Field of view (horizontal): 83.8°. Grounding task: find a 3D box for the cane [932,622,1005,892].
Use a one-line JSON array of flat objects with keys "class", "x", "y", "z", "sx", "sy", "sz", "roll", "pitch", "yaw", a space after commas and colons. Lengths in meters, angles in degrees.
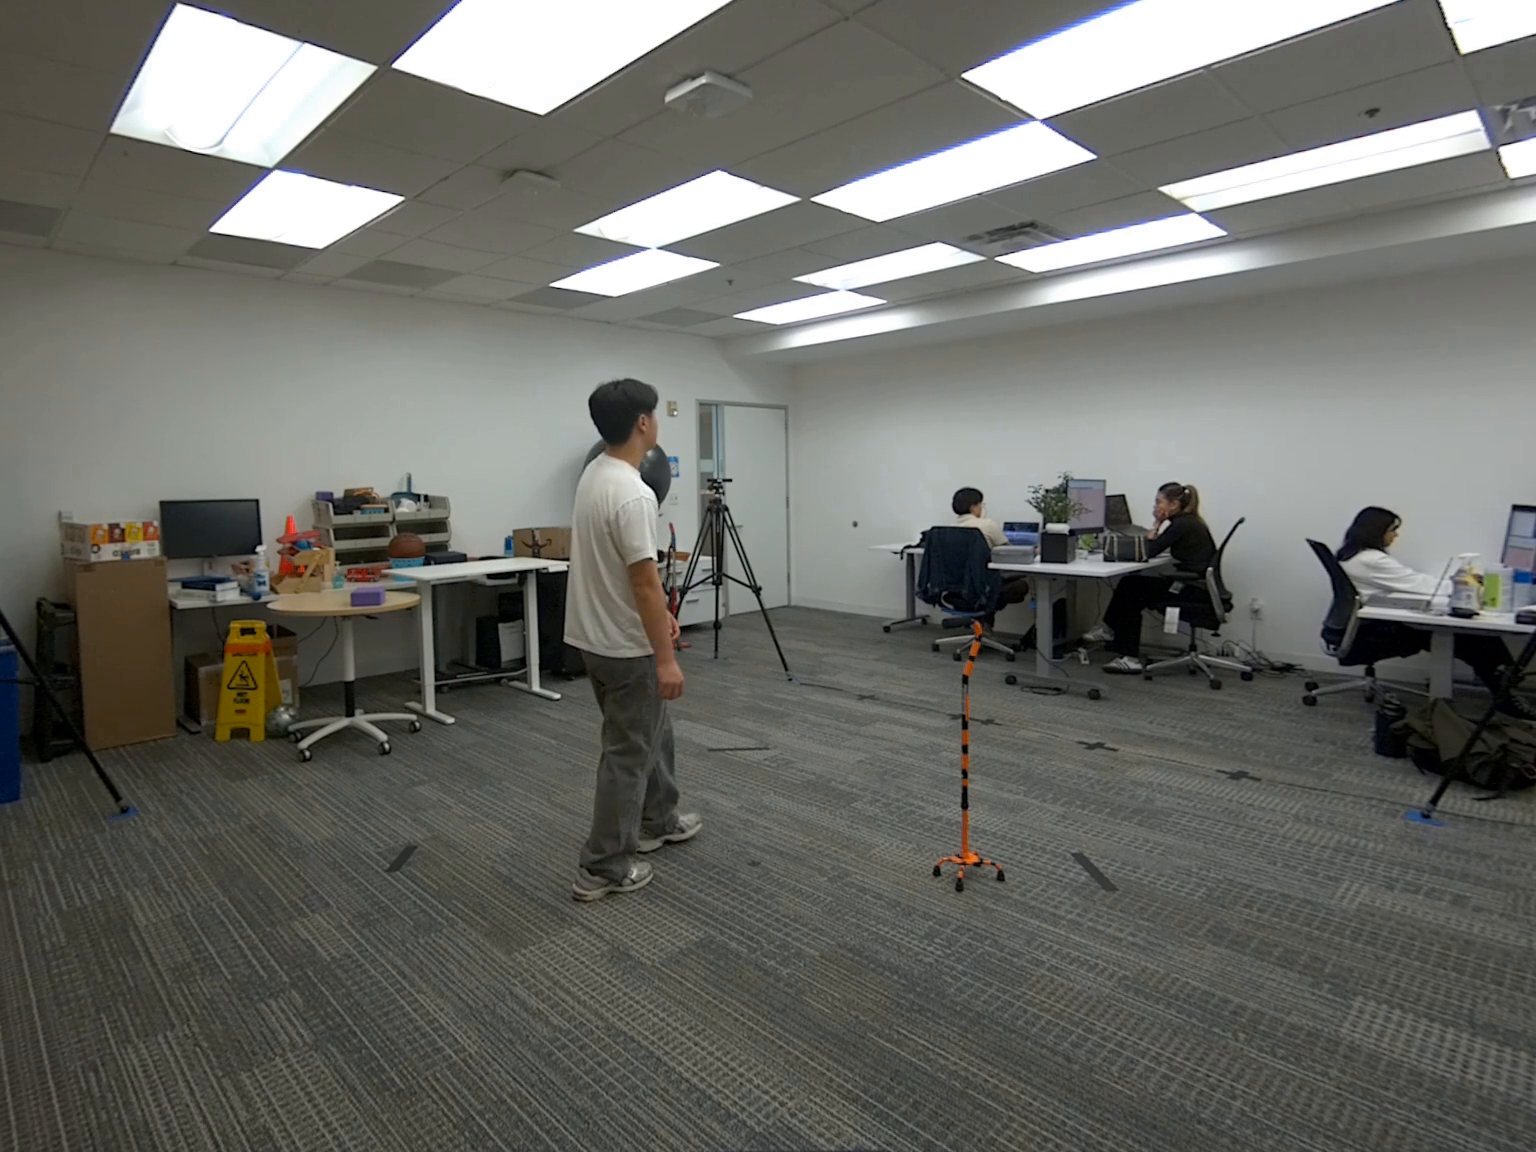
[{"class": "cane", "x": 0.695, "y": 0.595, "z": 2.939, "sx": 0.202, "sy": 0.905, "sz": 0.155, "roll": -2, "pitch": 4, "yaw": -26}]
